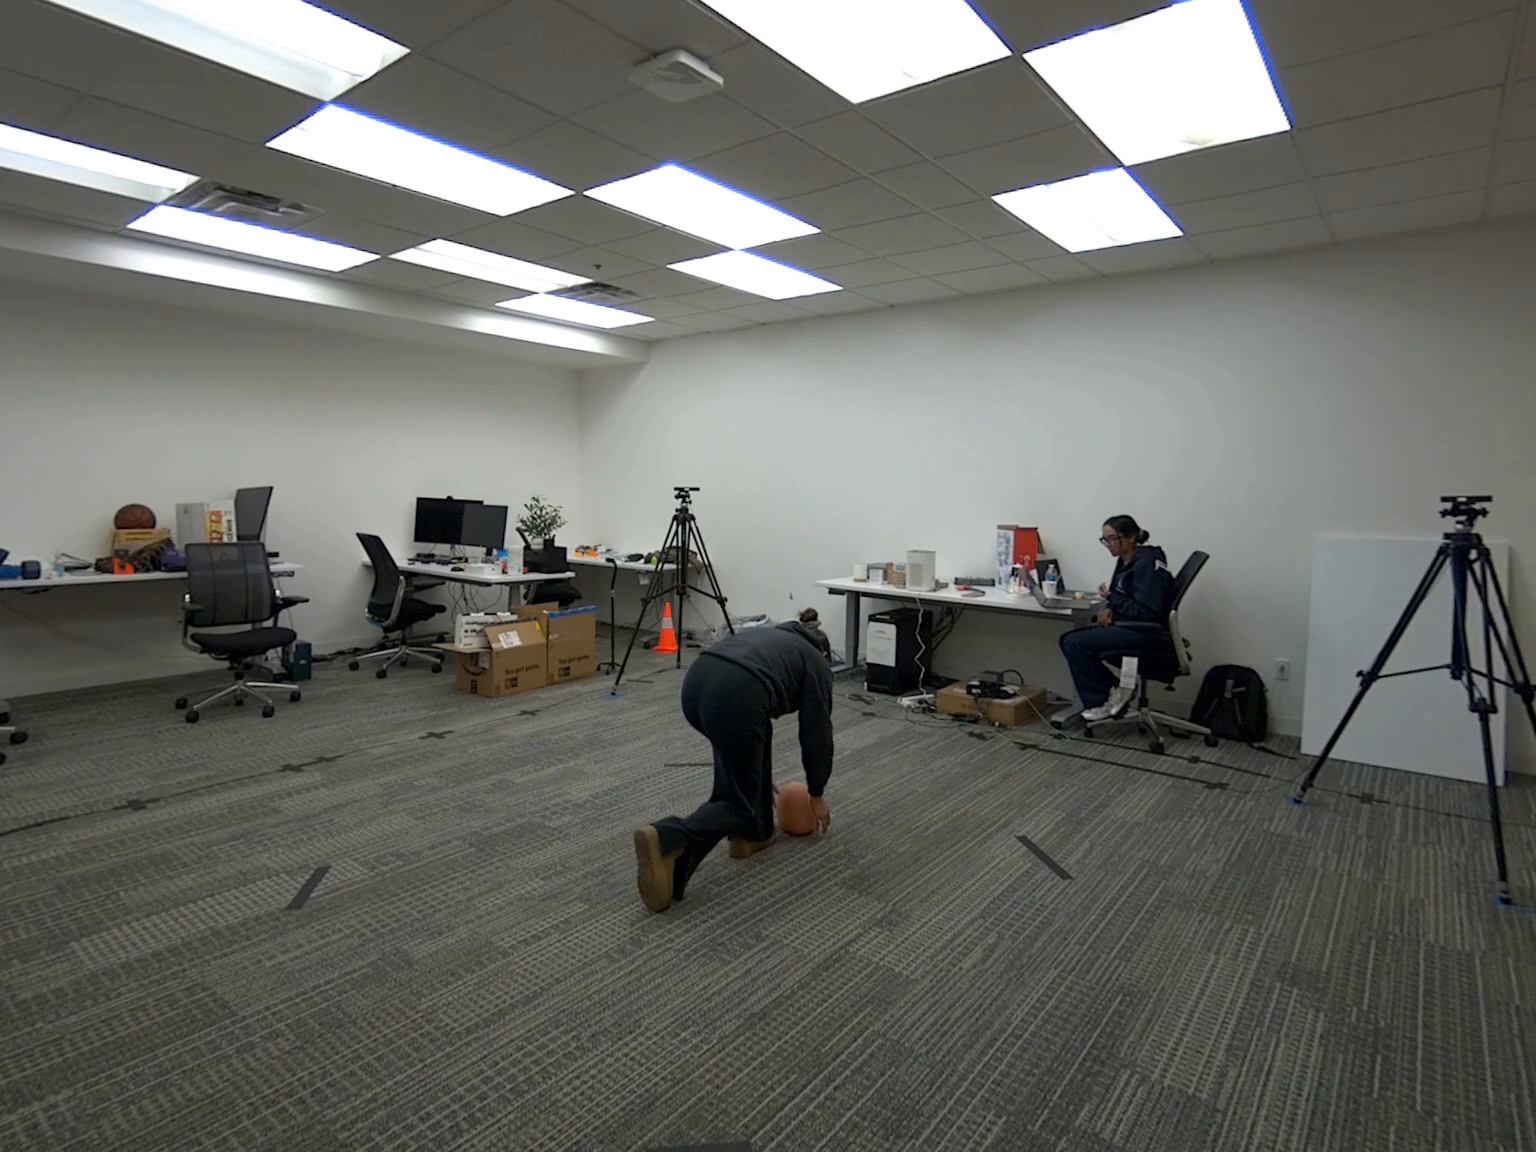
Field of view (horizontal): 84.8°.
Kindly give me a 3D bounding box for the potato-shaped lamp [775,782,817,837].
[{"bbox_3d":[0.111,0.929,3.470,0.169,0.197,0.167,-1,7,32],"label":"potato-shaped lamp"}]
